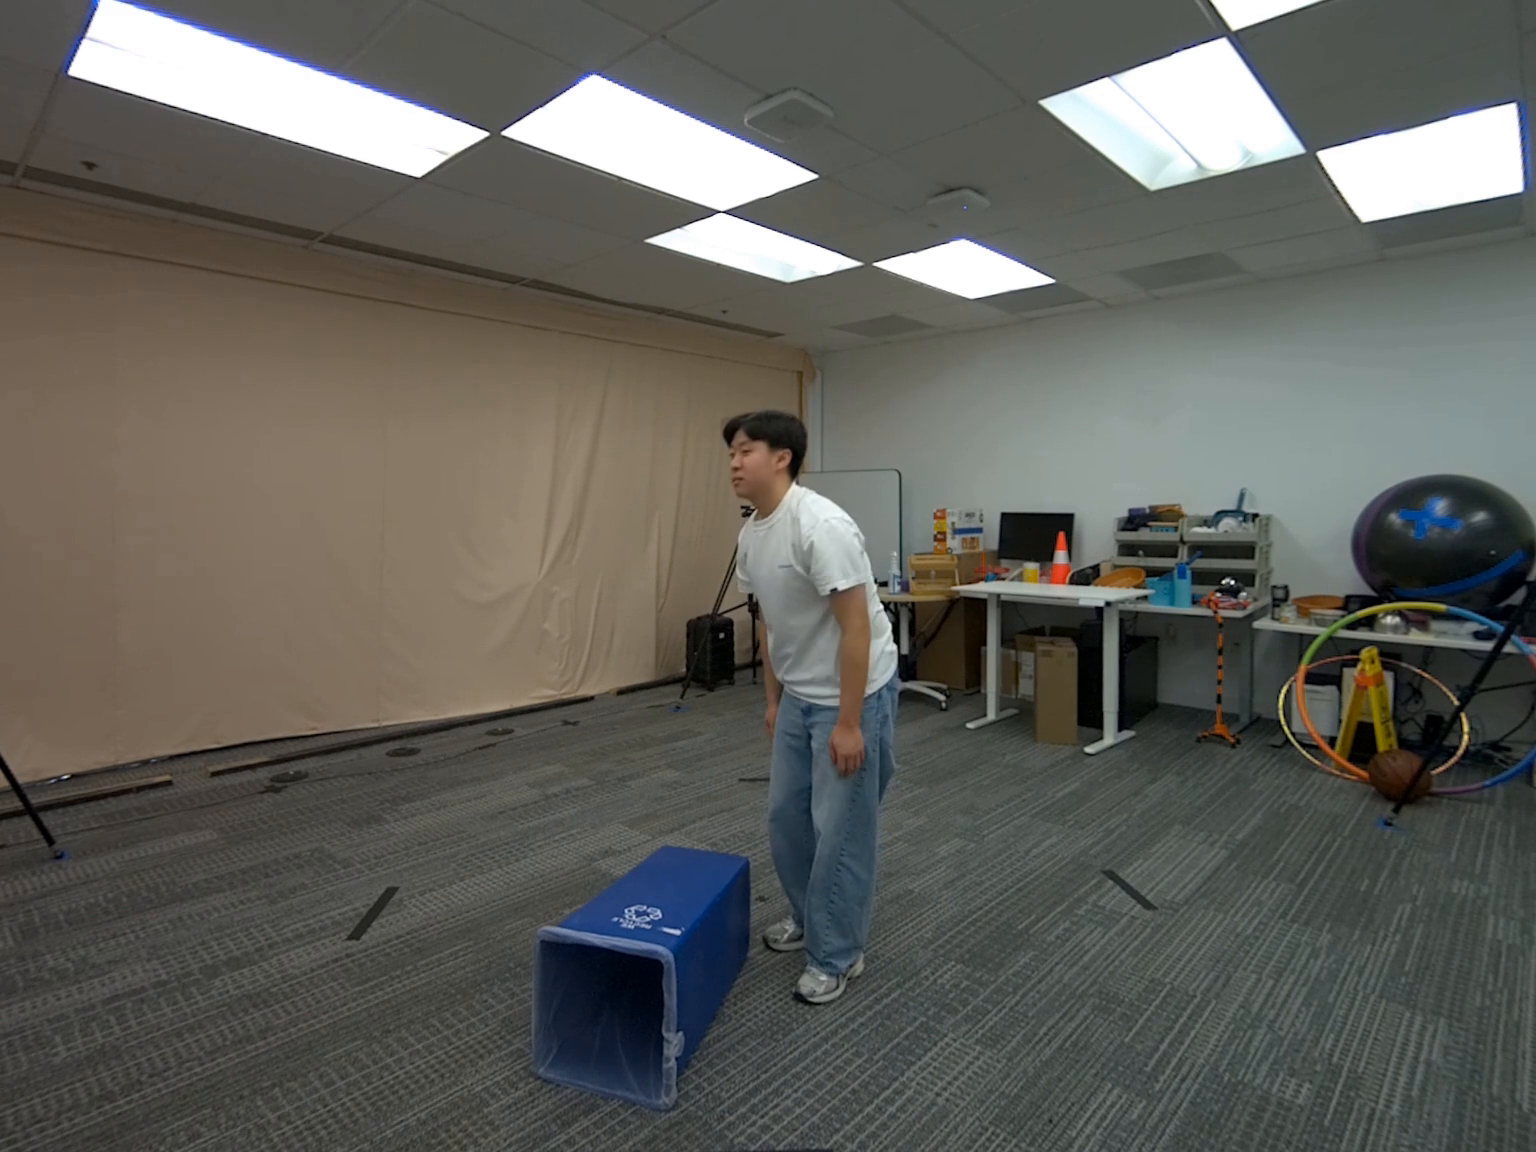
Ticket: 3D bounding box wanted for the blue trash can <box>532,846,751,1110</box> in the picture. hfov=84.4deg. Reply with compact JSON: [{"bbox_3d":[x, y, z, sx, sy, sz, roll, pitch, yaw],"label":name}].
[{"bbox_3d":[-0.304,1.035,2.318,0.381,0.378,0.700,1,1,16],"label":"blue trash can"}]
